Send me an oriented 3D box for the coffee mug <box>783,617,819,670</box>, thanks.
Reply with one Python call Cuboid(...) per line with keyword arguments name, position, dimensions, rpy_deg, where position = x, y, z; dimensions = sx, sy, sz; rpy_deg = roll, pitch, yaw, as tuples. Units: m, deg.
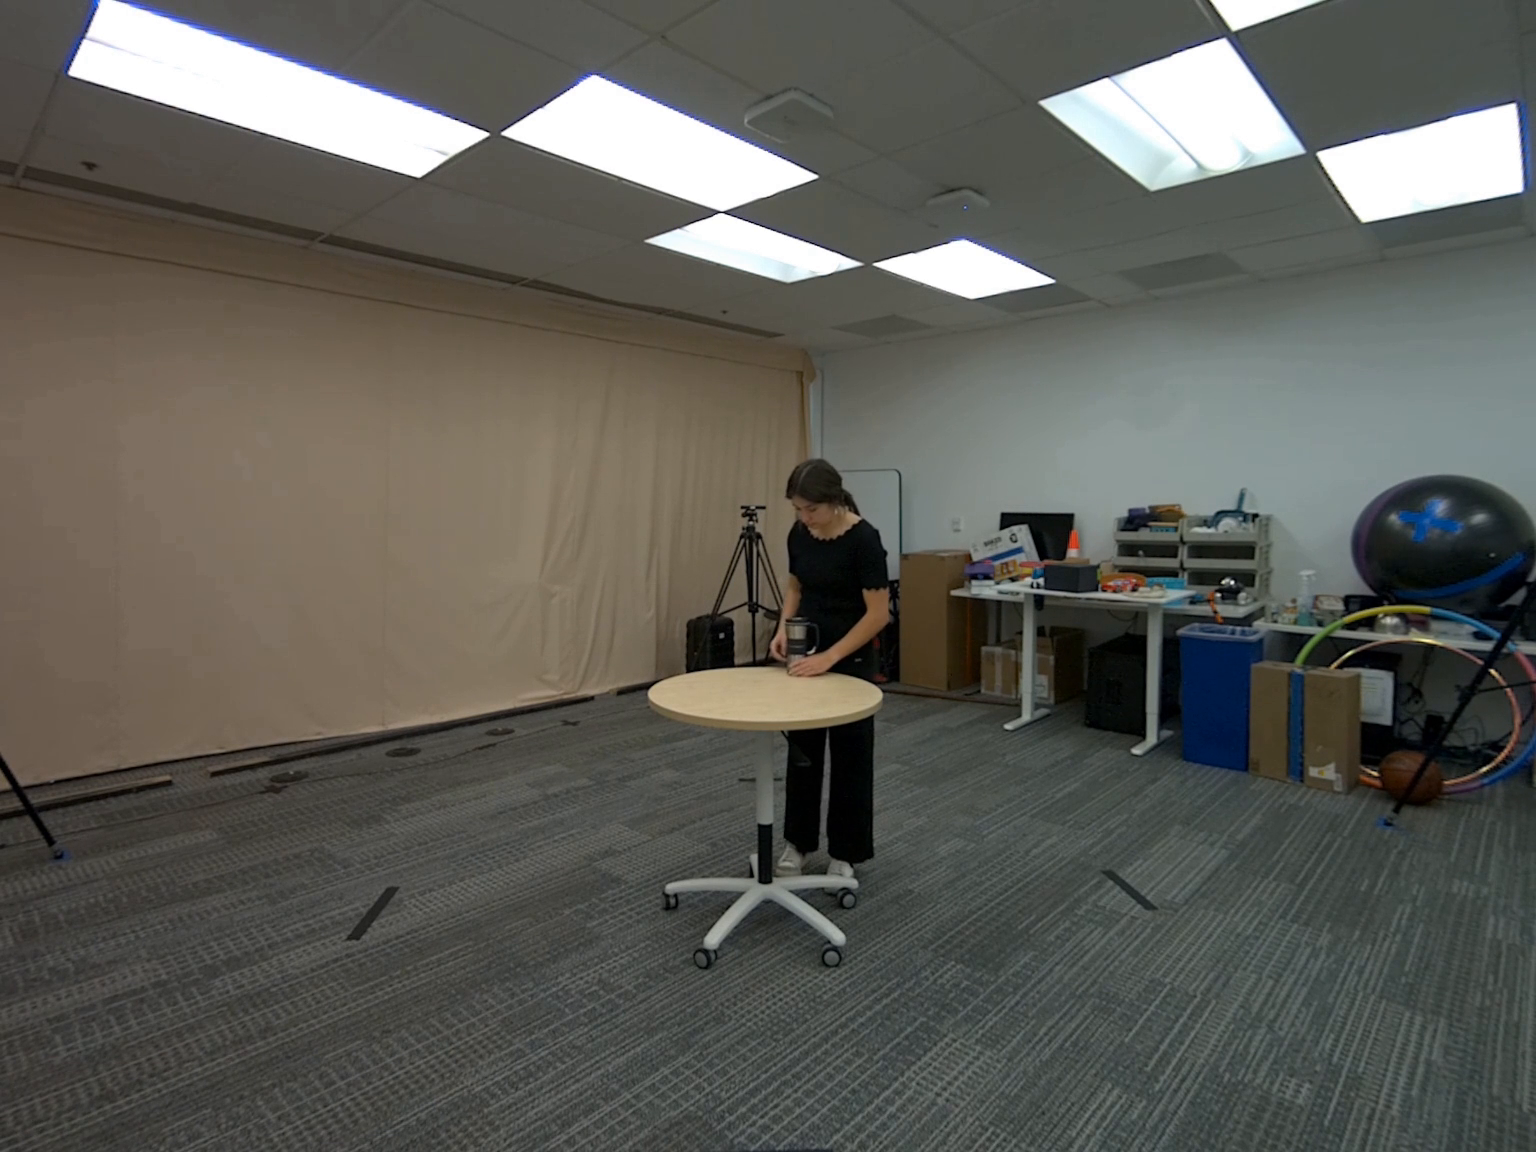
Cuboid(name="coffee mug", position=(0.121, 0.258, 3.027), dimensions=(0.126, 0.203, 0.085), rpy_deg=(2, -3, 43))
